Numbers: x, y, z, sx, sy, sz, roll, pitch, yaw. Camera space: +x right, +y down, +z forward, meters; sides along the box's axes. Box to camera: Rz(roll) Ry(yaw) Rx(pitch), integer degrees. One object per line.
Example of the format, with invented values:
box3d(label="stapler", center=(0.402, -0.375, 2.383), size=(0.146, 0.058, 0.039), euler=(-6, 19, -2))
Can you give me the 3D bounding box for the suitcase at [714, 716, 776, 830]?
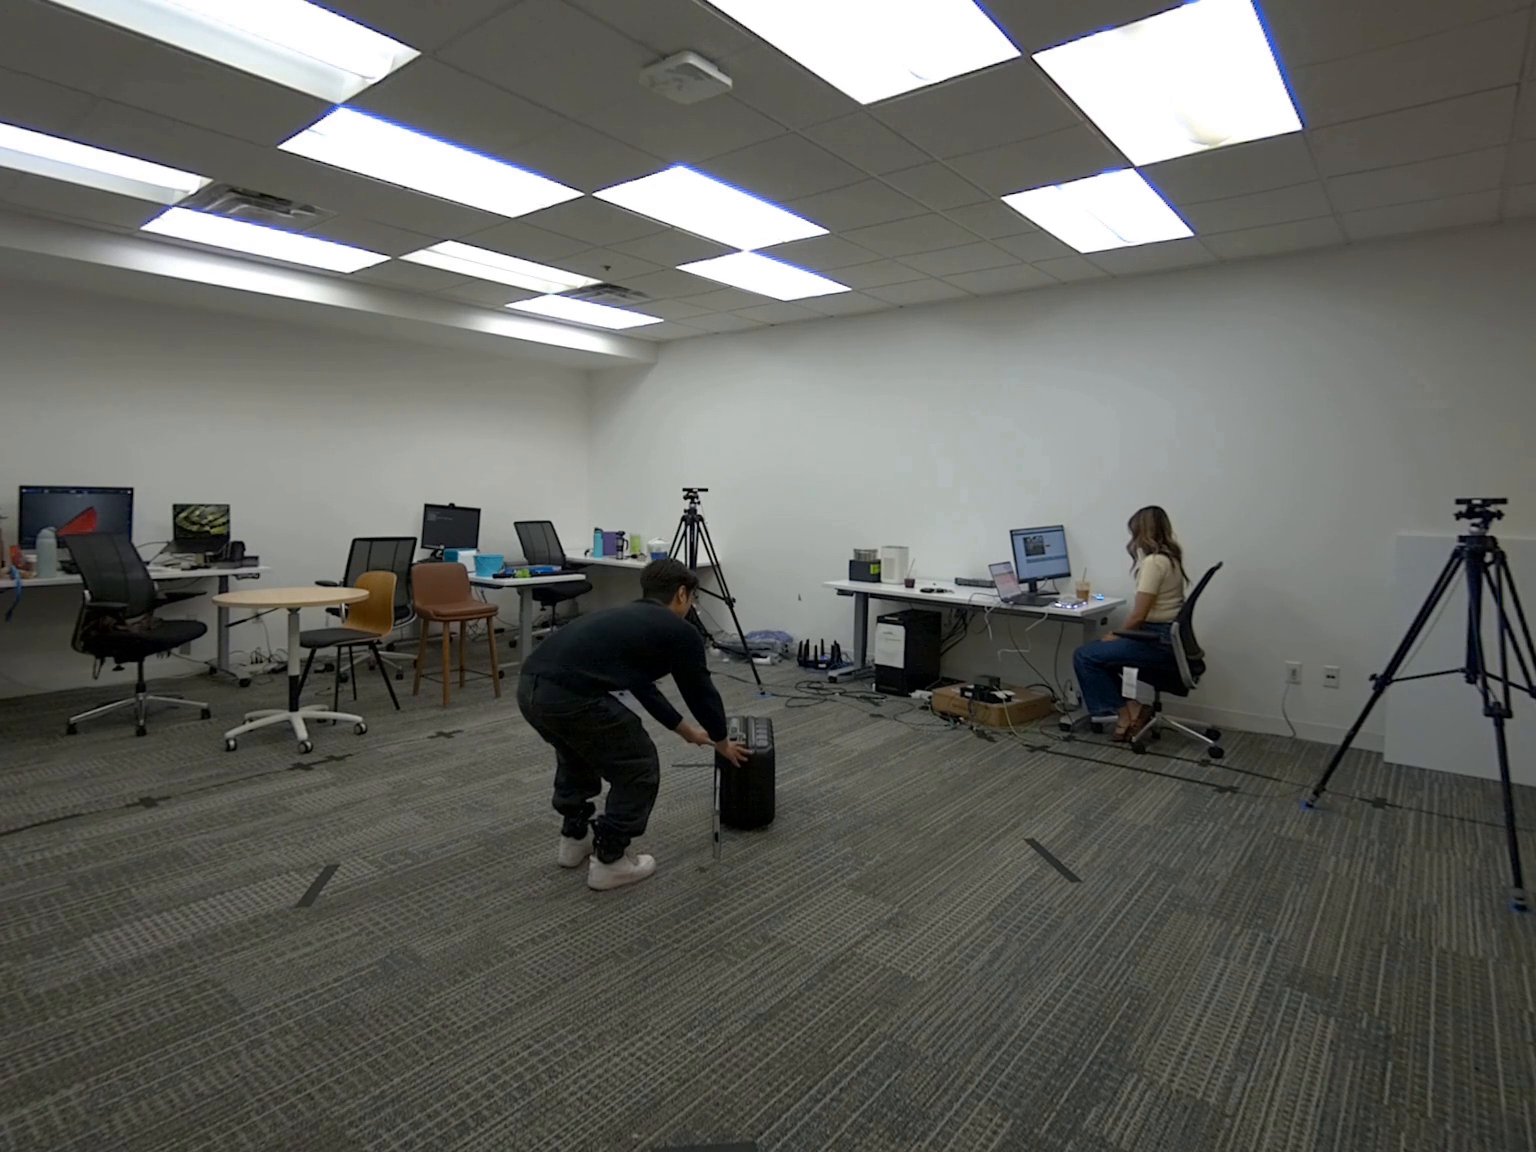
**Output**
box3d(label="suitcase", center=(-0.097, 0.850, 3.481), size=(0.257, 0.382, 0.984), euler=(-1, 5, -3))
